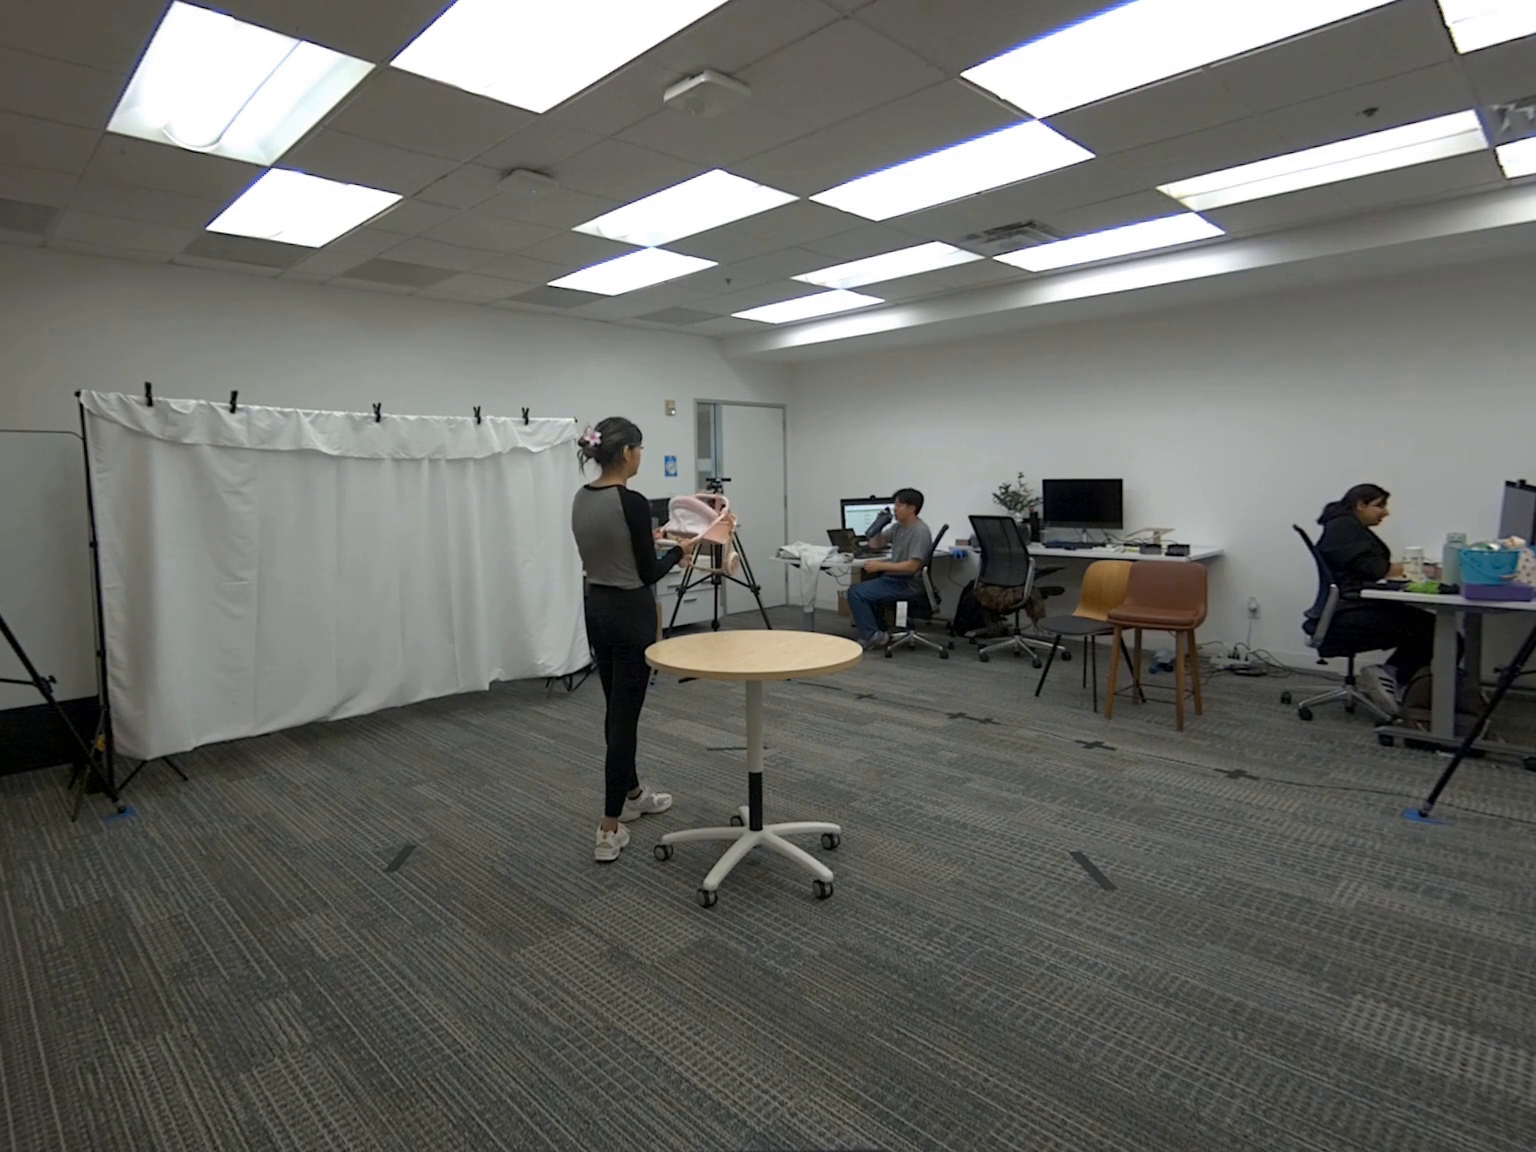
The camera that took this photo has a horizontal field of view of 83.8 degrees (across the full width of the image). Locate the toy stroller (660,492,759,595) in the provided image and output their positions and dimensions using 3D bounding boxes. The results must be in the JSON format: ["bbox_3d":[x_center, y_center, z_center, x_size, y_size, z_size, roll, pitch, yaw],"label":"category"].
[{"bbox_3d":[-0.293,-0.219,3.812,0.289,0.344,0.517,13,-13,24],"label":"toy stroller"}]
